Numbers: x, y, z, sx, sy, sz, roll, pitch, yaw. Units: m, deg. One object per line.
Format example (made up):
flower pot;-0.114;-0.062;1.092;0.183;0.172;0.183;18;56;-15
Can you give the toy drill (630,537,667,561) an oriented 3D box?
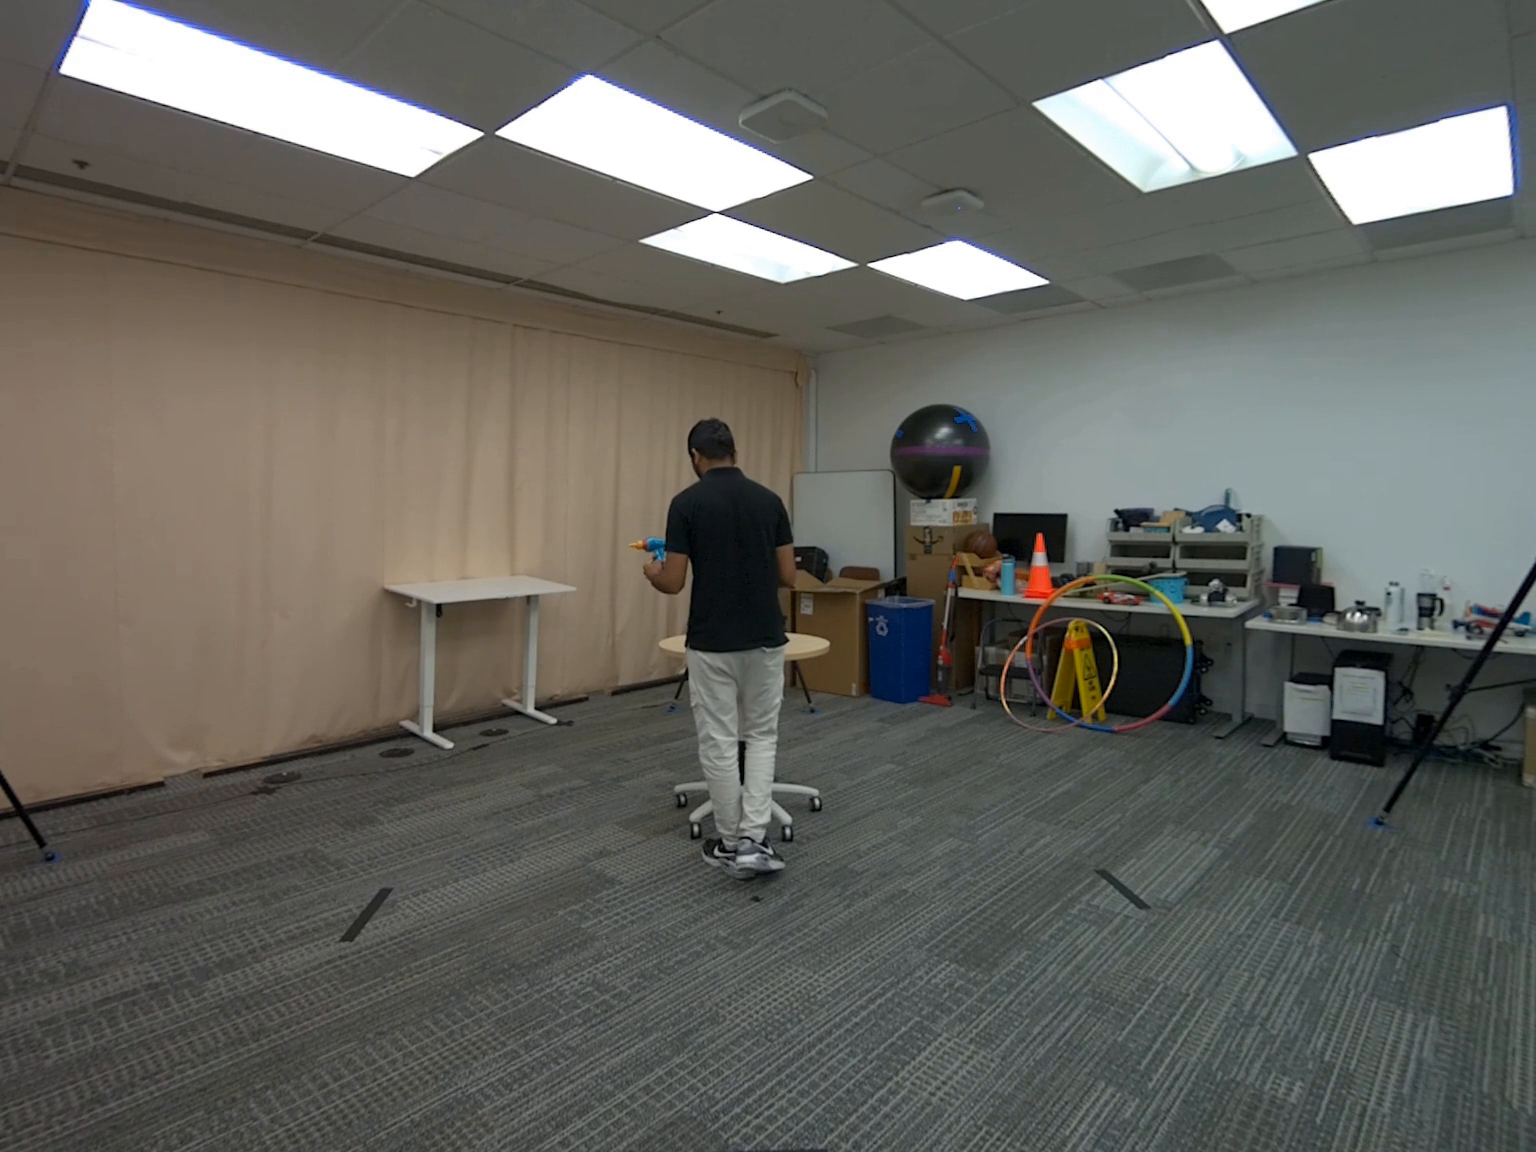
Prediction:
toy drill;-0.468;-0.090;3.410;0.166;0.148;0.061;-2;-18;-22
